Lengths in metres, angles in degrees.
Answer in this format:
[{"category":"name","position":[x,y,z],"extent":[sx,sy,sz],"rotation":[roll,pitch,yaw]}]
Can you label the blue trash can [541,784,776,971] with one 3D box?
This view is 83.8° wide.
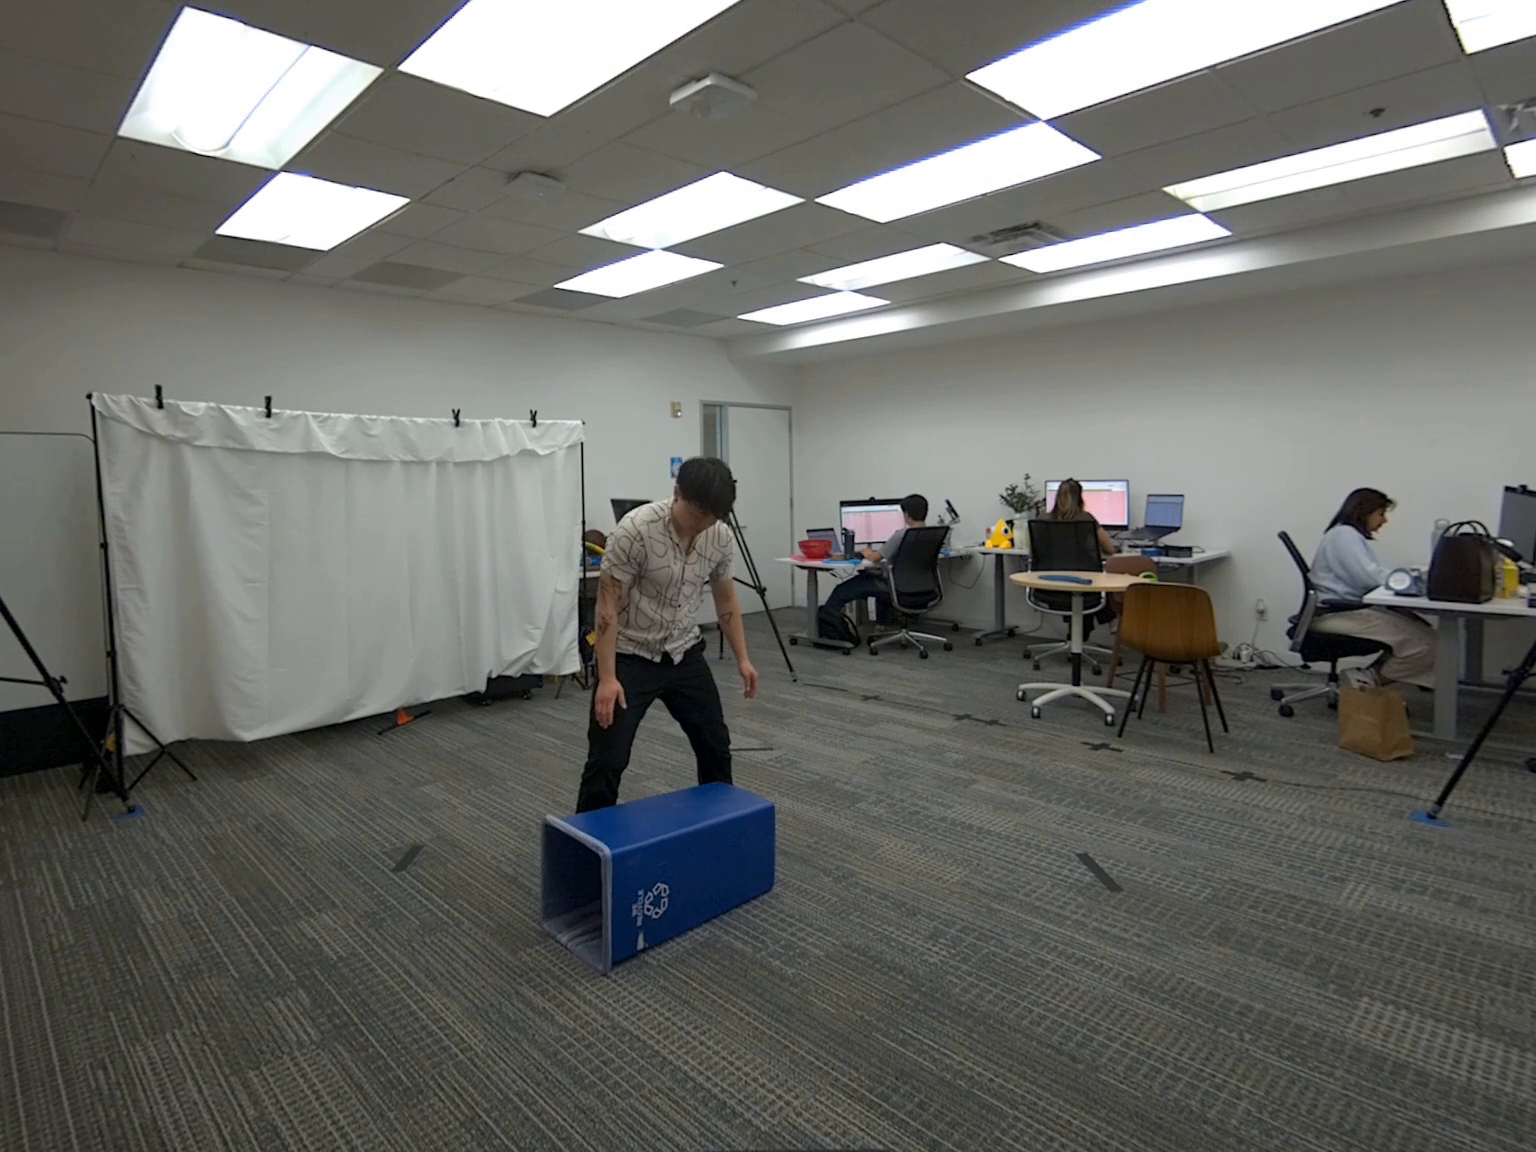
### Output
[{"category":"blue trash can","position":[-0.326,0.919,2.773],"extent":[0.694,0.377,0.385],"rotation":[-4,6,-42]}]
